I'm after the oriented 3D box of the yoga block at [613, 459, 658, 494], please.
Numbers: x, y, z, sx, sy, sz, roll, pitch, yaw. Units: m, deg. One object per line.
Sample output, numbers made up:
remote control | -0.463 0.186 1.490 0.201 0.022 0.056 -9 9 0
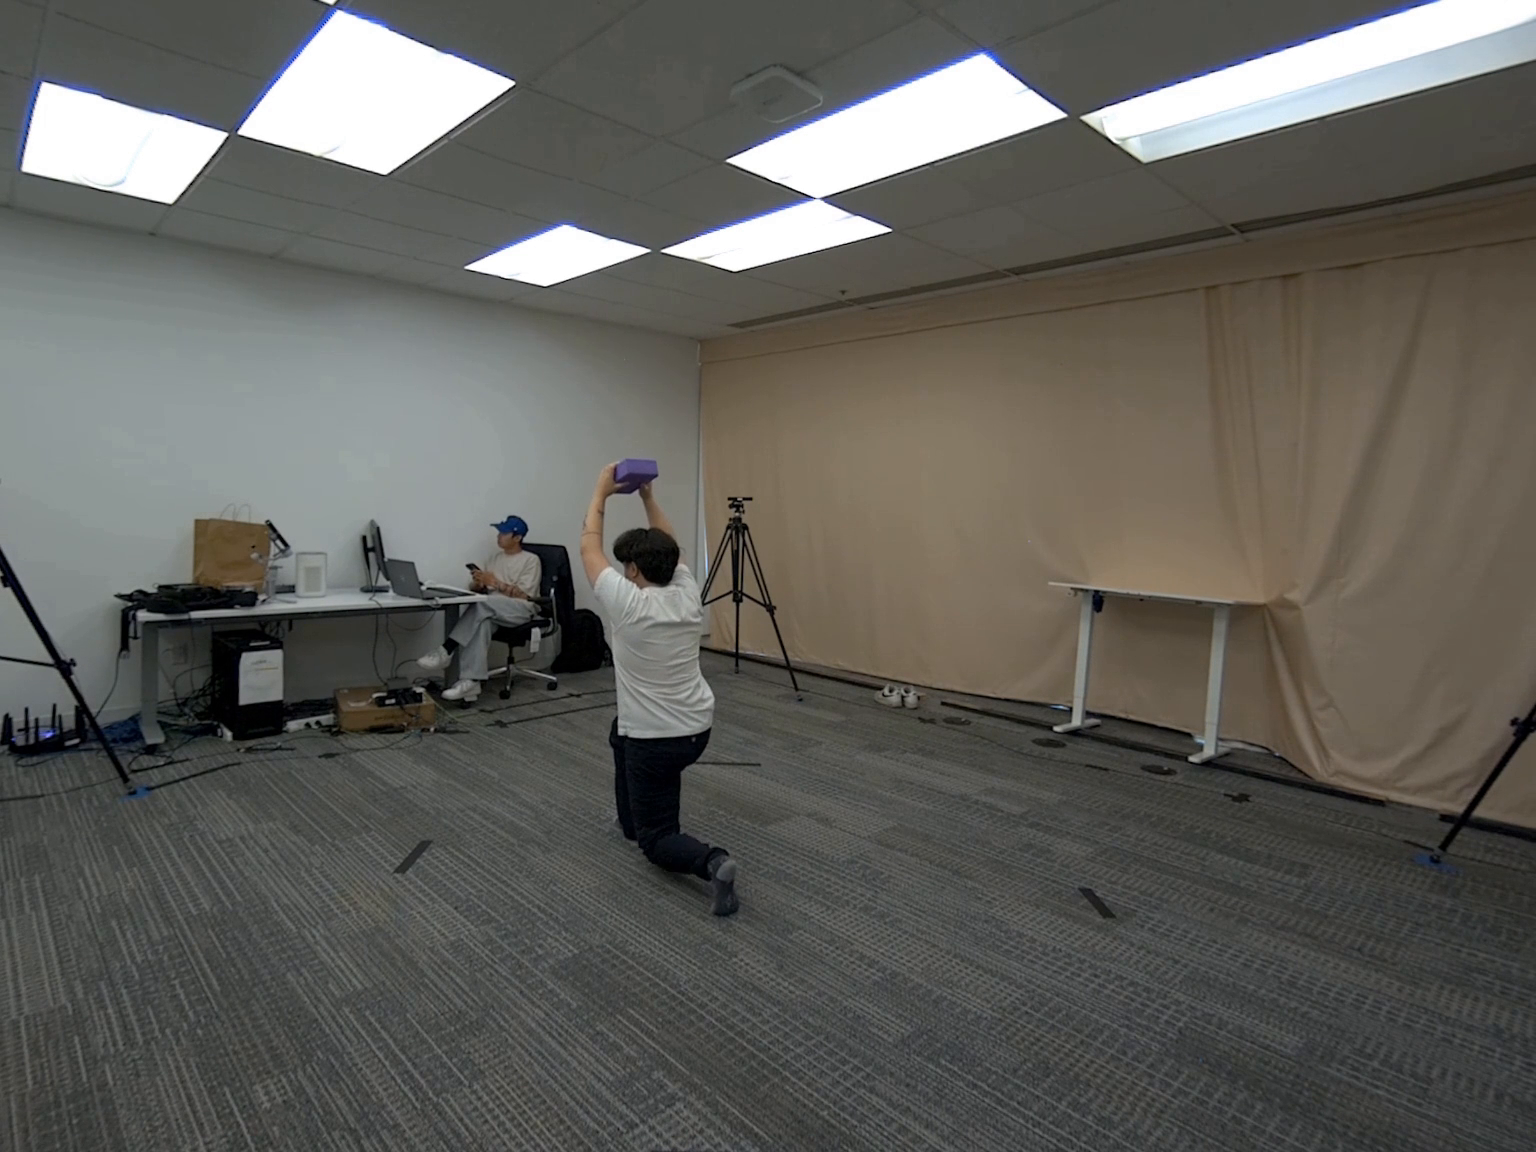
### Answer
yoga block | -0.571 -0.412 3.435 0.145 0.077 0.232 -2 -12 -41
